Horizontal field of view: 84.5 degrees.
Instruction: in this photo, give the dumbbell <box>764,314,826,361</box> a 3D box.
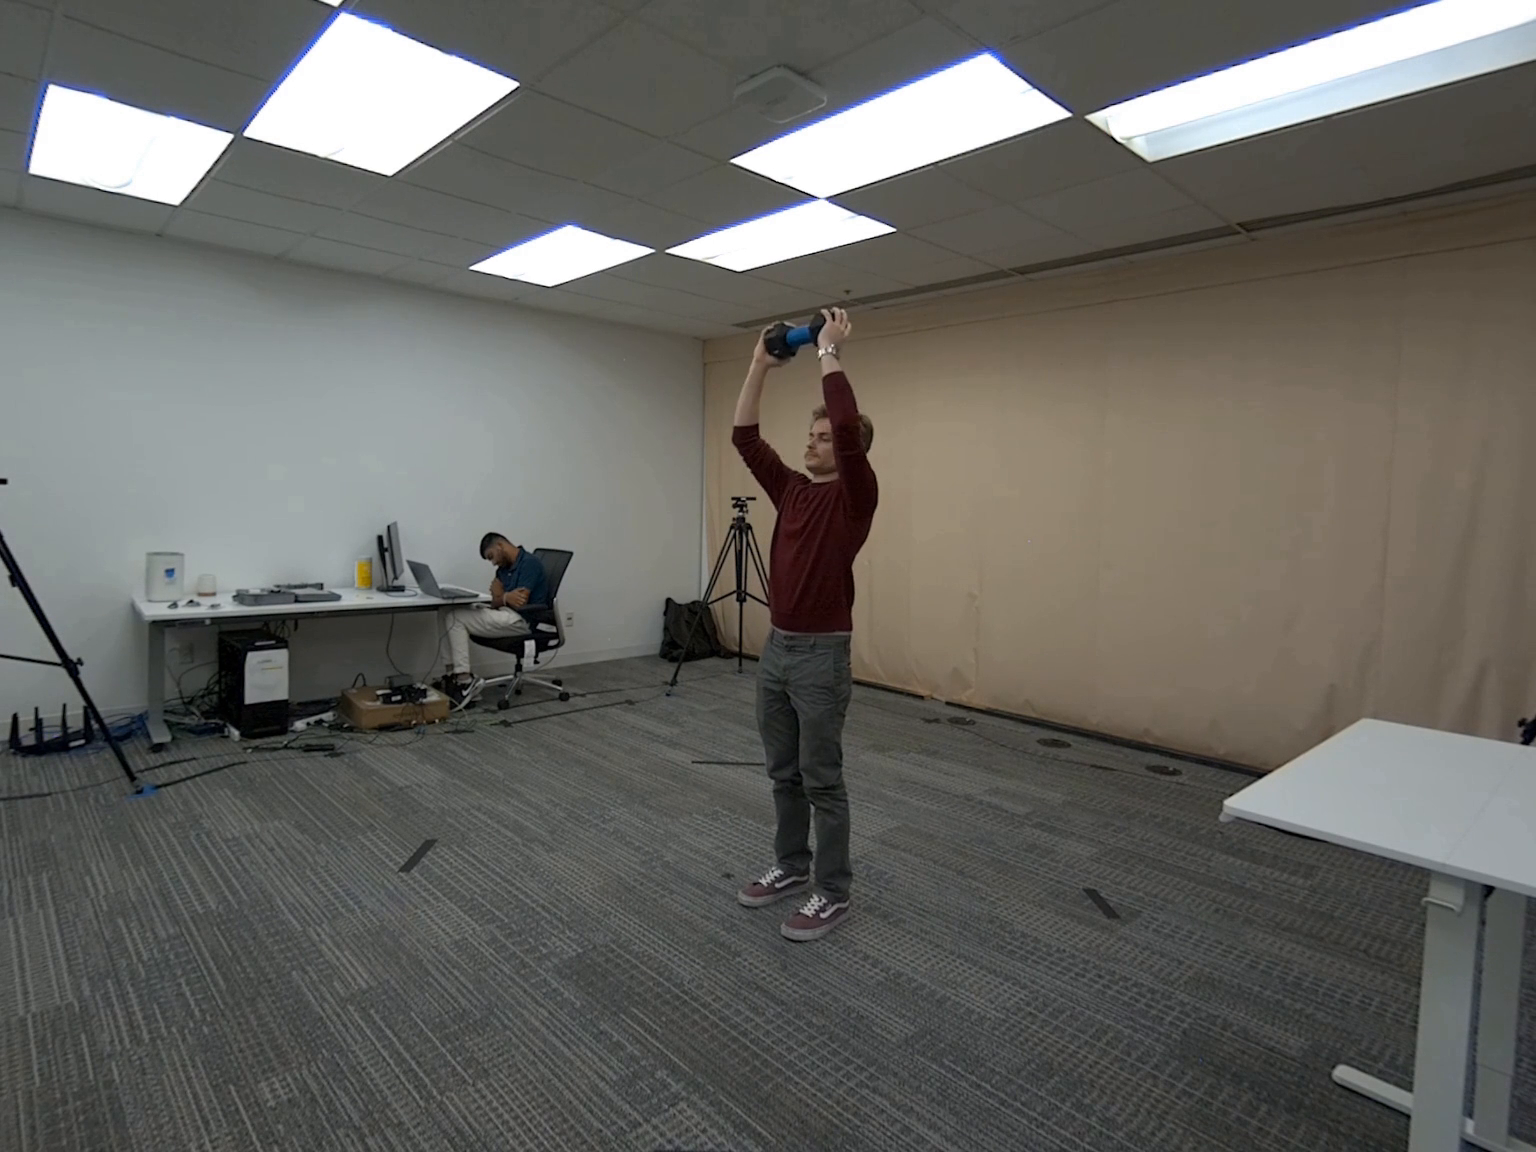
[{"bbox_3d":[0.109,-0.777,2.763,0.300,0.124,0.105,1,-33,48],"label":"dumbbell"}]
